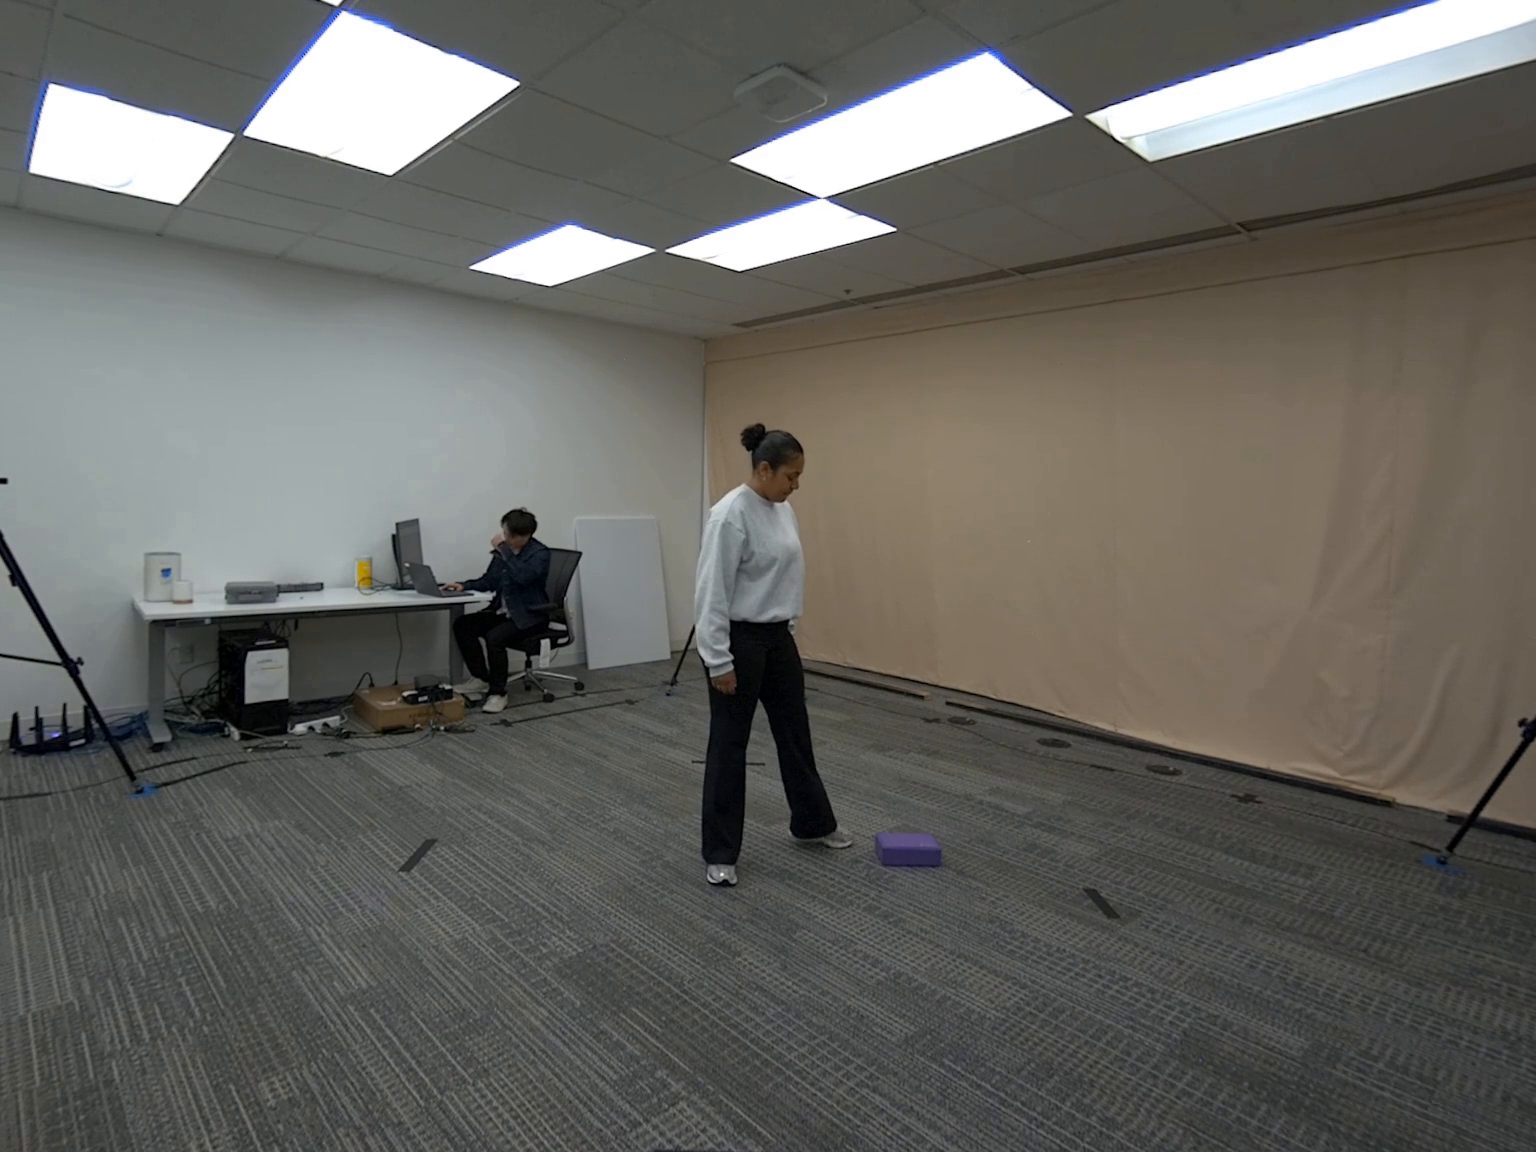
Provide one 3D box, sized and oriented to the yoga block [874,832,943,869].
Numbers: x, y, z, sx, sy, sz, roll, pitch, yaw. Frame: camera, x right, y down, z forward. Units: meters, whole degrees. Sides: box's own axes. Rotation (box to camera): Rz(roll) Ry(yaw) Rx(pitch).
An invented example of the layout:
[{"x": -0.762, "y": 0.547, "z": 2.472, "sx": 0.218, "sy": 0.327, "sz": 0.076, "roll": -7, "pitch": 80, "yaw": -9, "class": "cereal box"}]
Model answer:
[{"x": 0.539, "y": 1.068, "z": 3.288, "sx": 0.229, "sy": 0.076, "sz": 0.150, "roll": 1, "pitch": 5, "yaw": -3, "class": "yoga block"}]
